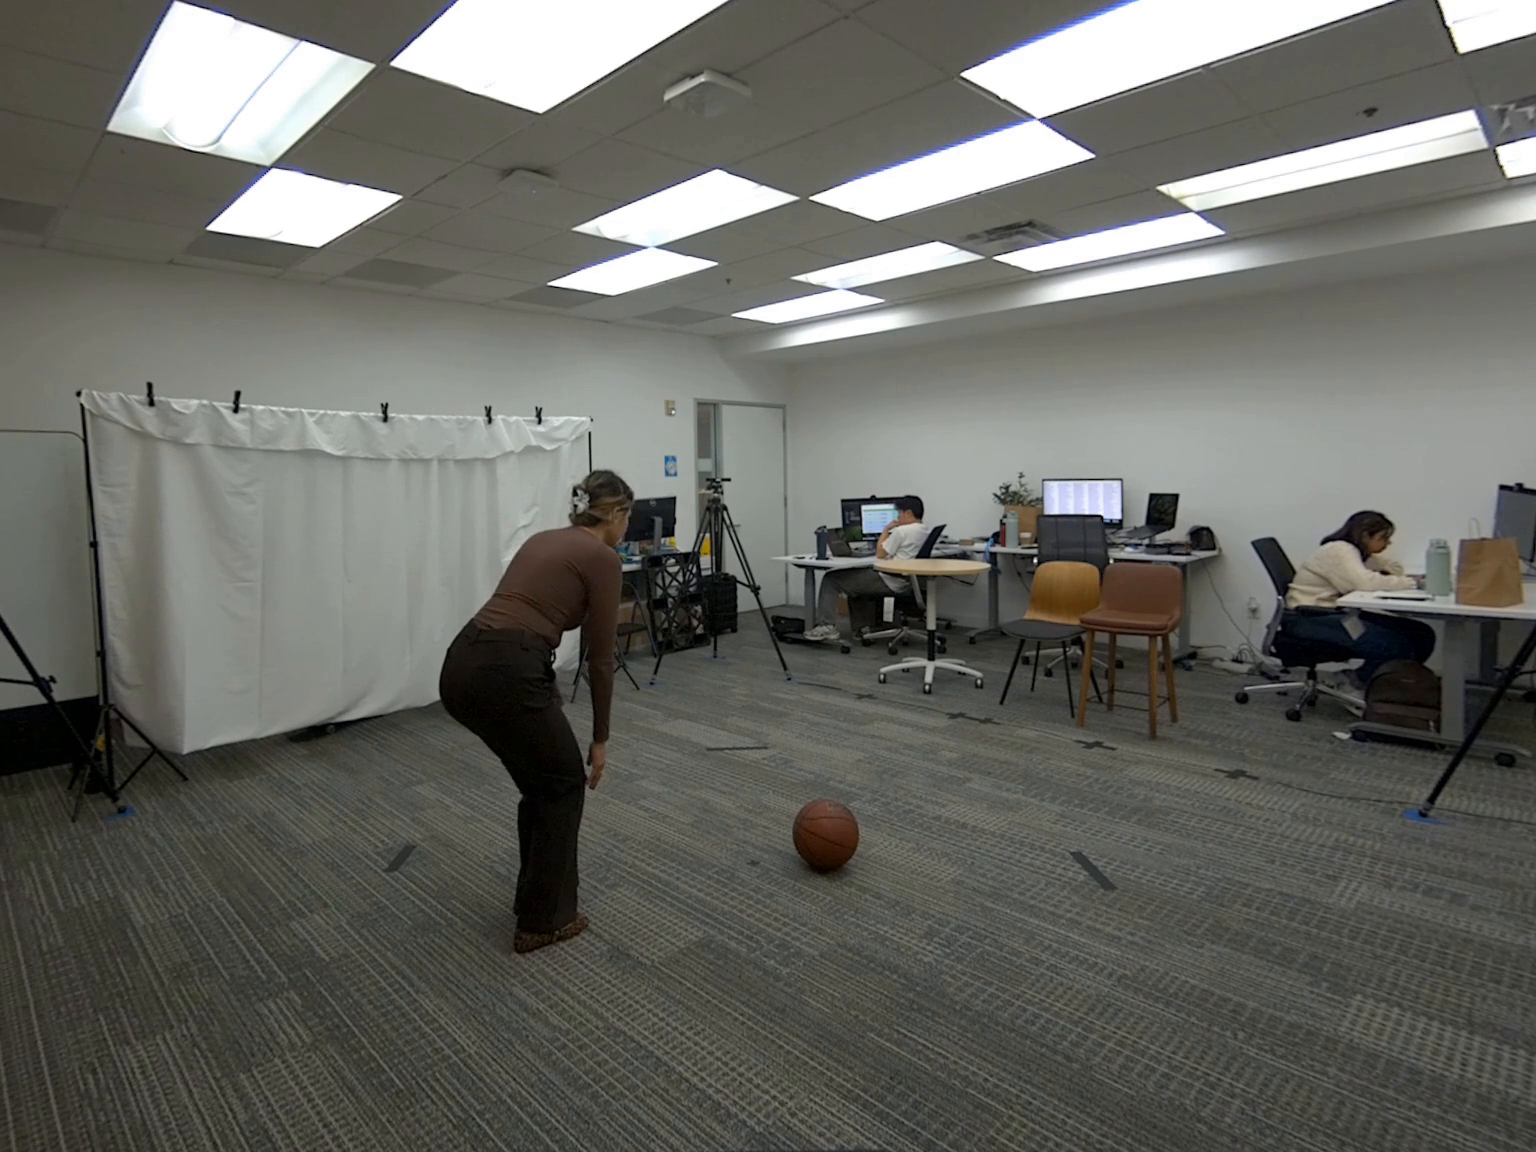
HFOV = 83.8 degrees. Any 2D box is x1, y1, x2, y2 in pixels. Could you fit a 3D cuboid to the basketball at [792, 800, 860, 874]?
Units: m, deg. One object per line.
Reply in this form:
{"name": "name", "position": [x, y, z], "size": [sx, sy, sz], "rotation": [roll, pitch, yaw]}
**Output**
{"name": "basketball", "position": [0.206, 0.920, 3.066], "size": [0.236, 0.235, 0.237], "rotation": [-1, 5, -2]}
